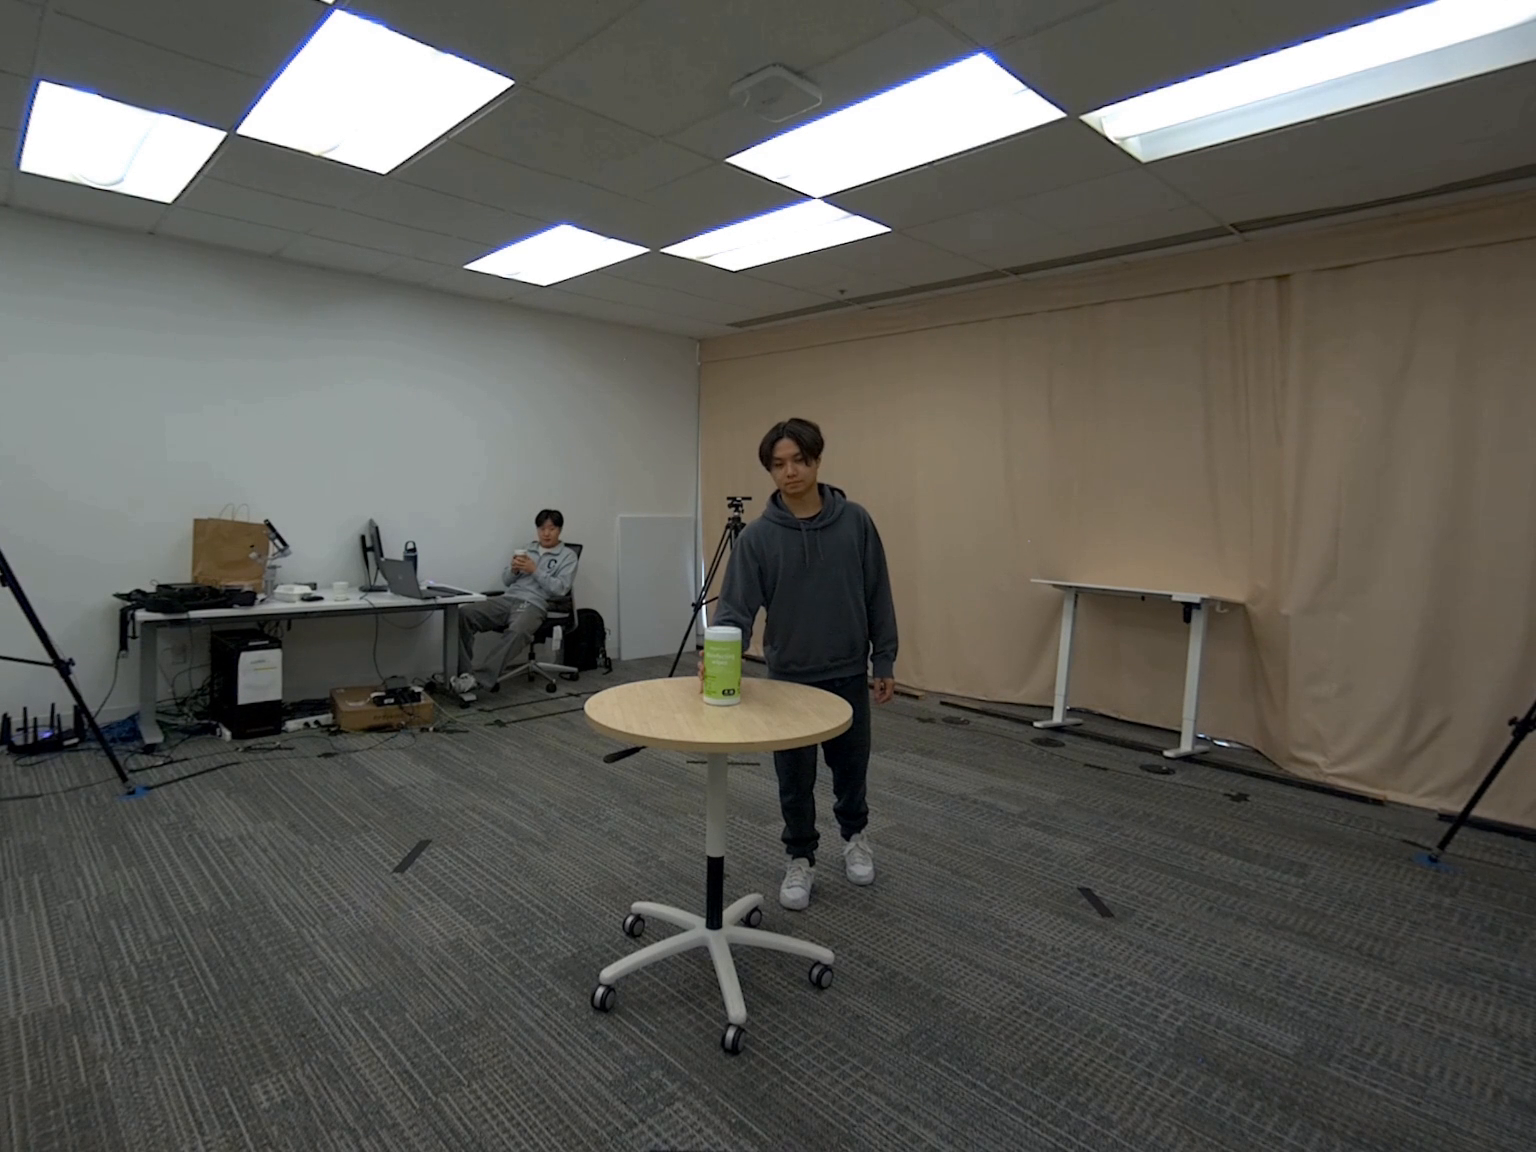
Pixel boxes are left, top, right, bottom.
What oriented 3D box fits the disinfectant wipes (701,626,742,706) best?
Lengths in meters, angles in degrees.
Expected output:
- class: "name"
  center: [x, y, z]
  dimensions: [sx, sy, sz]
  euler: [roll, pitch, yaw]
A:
- class: "disinfectant wipes"
  center: [-0.141, 0.265, 2.448]
  dimensions: [0.118, 0.217, 0.118]
  euler: [3, 2, -1]
